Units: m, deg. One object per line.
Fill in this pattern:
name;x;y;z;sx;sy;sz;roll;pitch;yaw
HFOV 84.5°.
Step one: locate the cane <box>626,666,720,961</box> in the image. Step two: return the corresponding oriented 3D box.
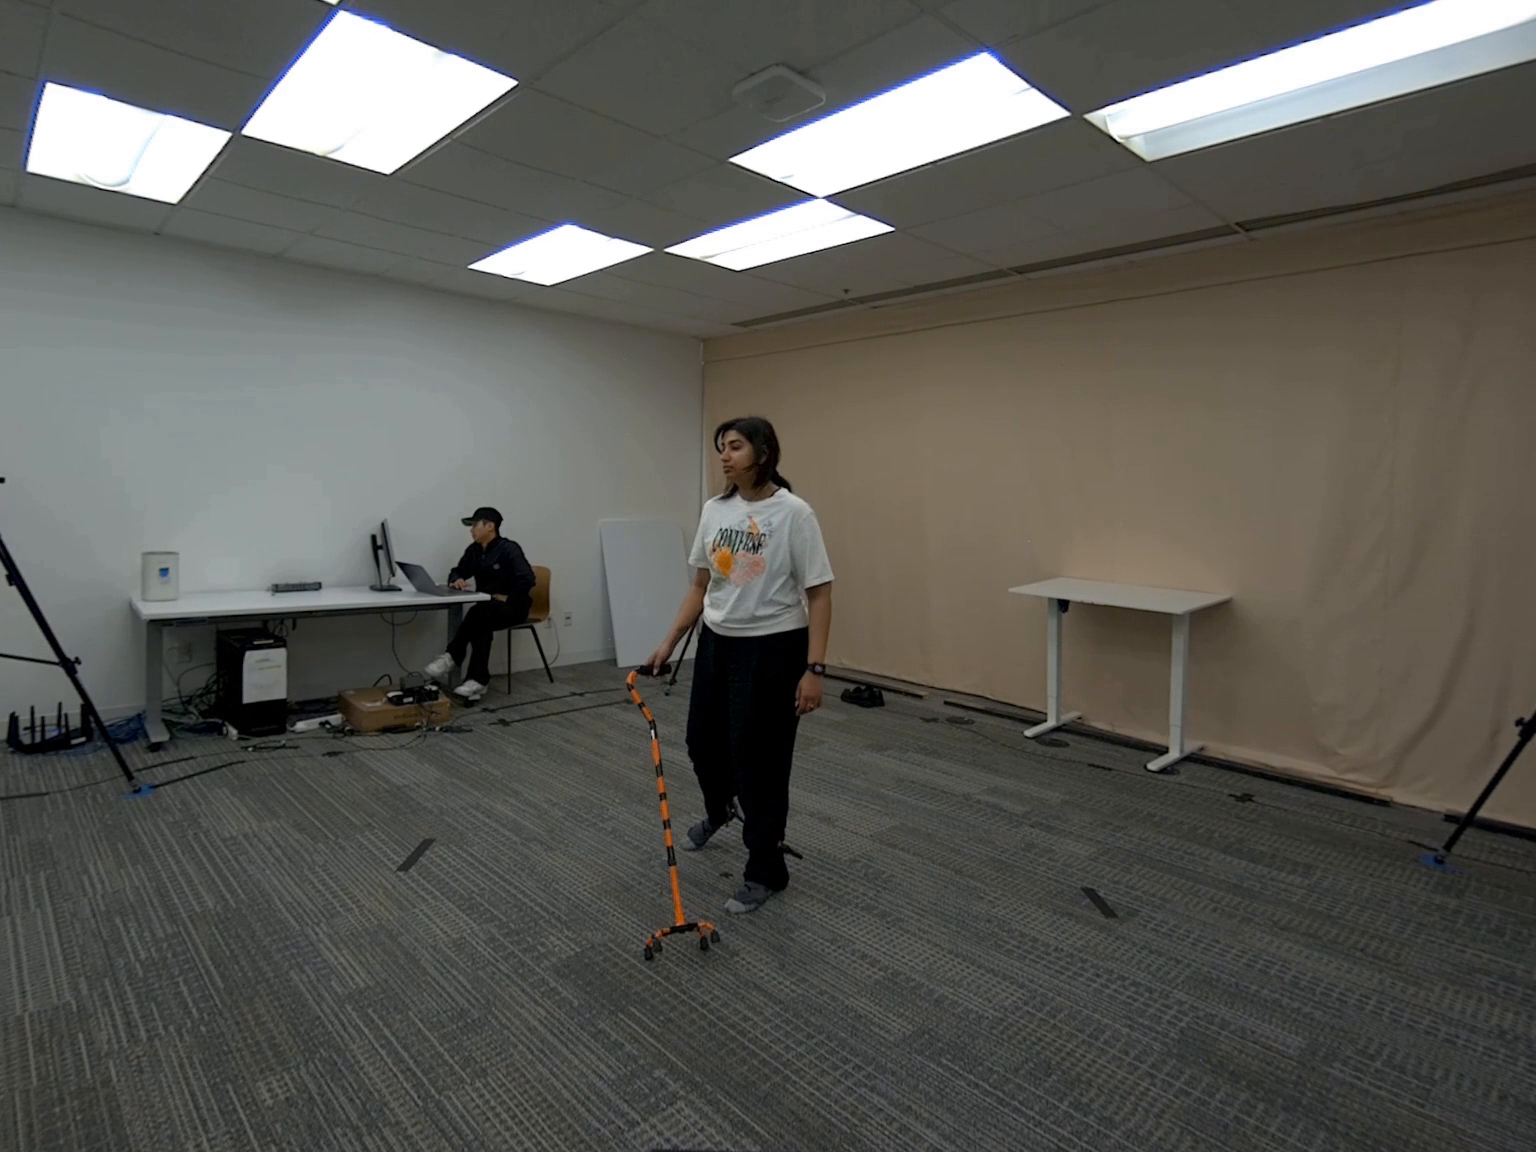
cane;-0.356;0.729;2.724;0.203;0.929;0.150;-2;-31;-22
